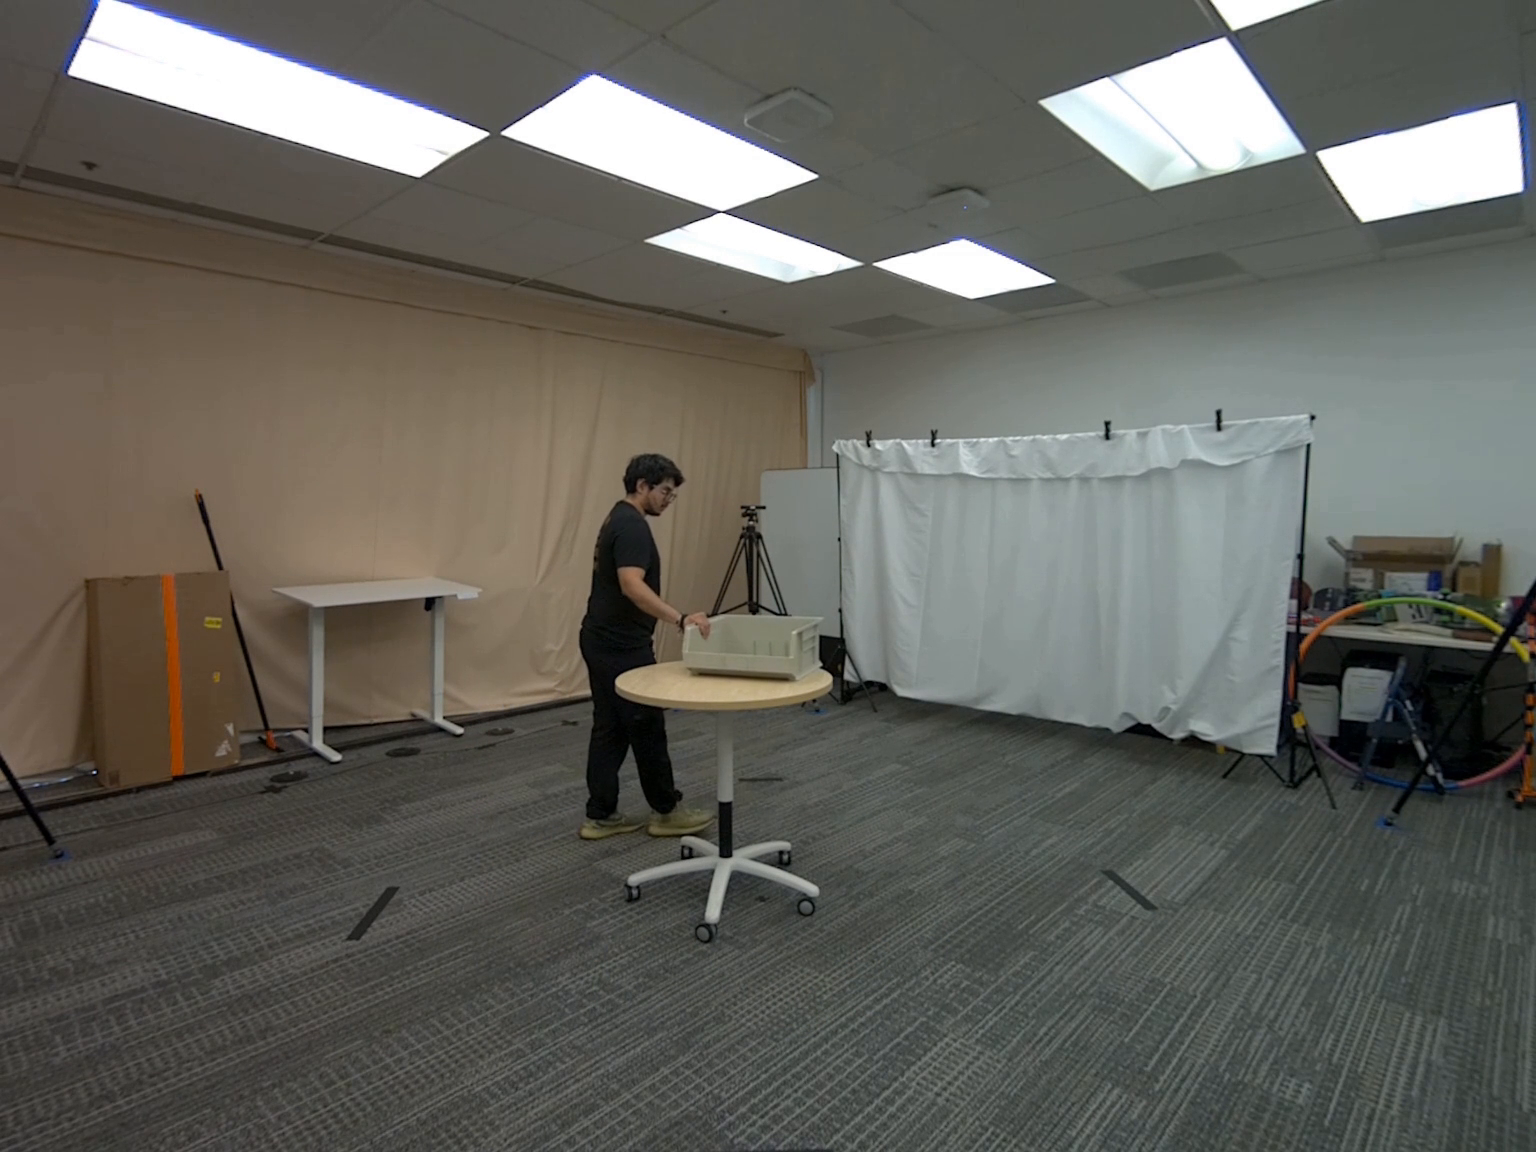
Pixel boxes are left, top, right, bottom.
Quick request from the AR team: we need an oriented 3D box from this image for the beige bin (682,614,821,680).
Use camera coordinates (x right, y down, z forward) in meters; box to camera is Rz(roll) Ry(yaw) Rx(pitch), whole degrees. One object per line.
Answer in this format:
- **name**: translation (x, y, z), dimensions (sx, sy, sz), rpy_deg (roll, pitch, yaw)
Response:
- **beige bin**: translation (-0.044, 0.259, 3.095), dimensions (0.432, 0.189, 0.369), rpy_deg (1, 3, 21)
